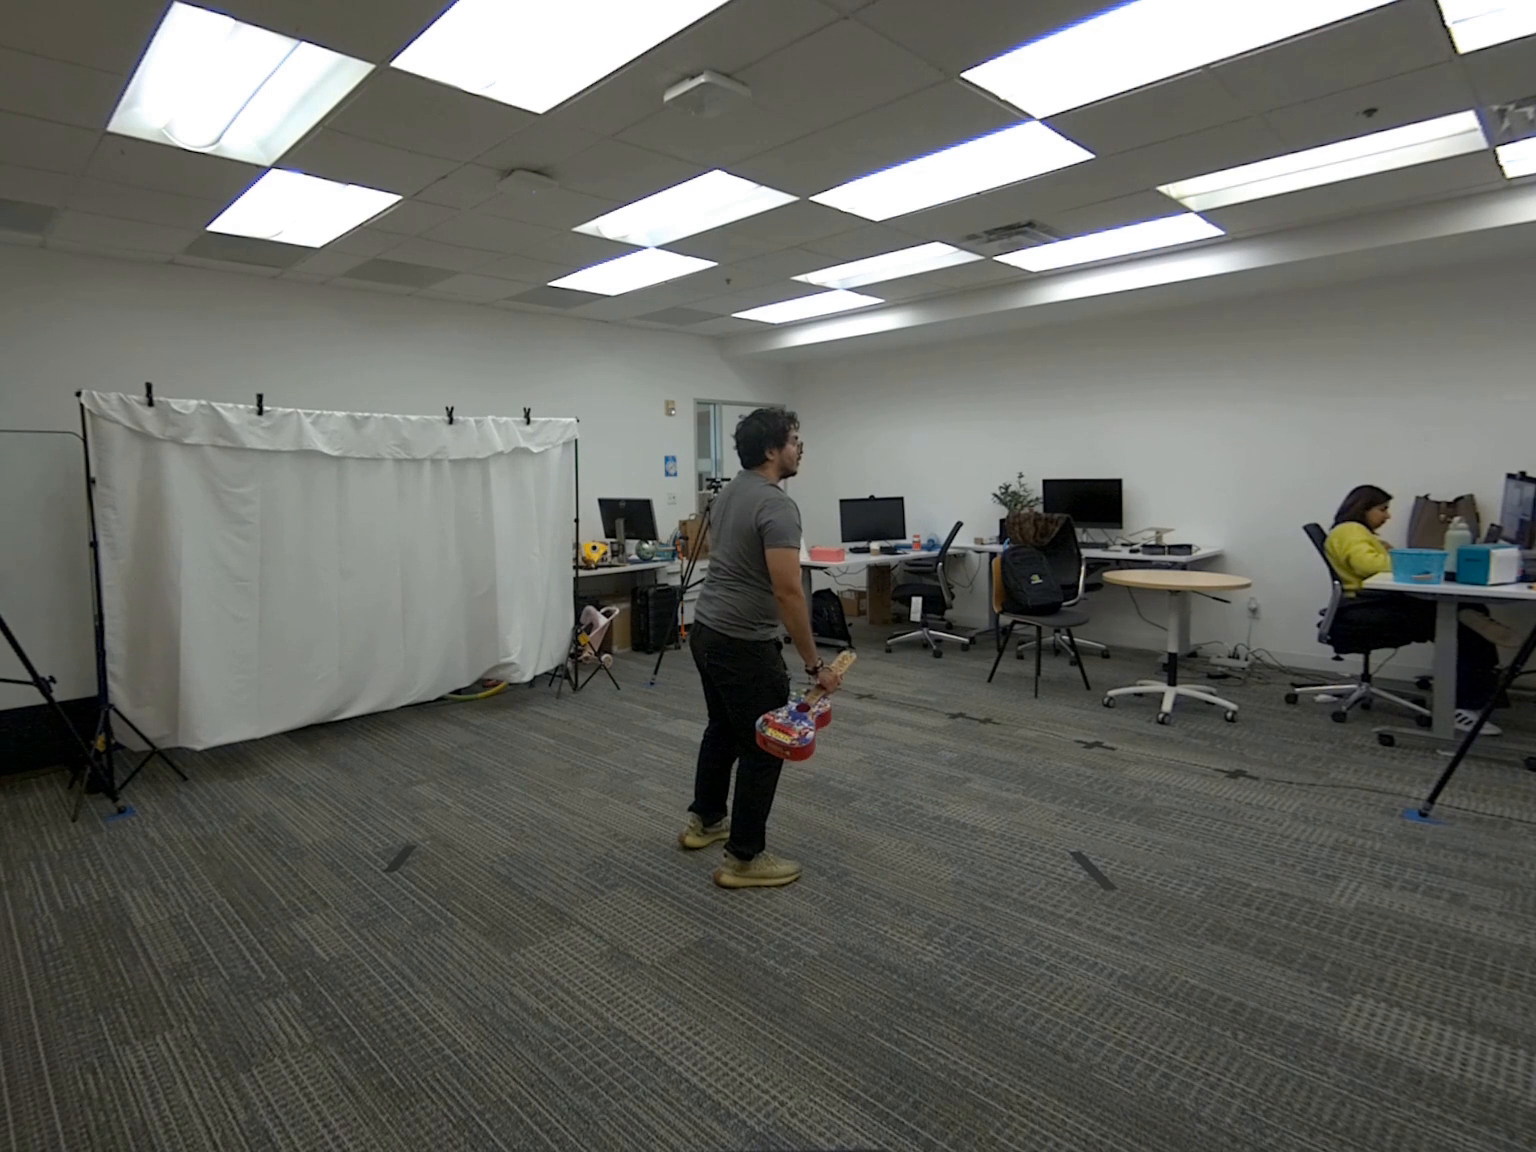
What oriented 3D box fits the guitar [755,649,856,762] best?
[{"bbox_3d":[0.181,0.421,2.773,0.200,0.069,0.493,21,40,35],"label":"guitar"}]
